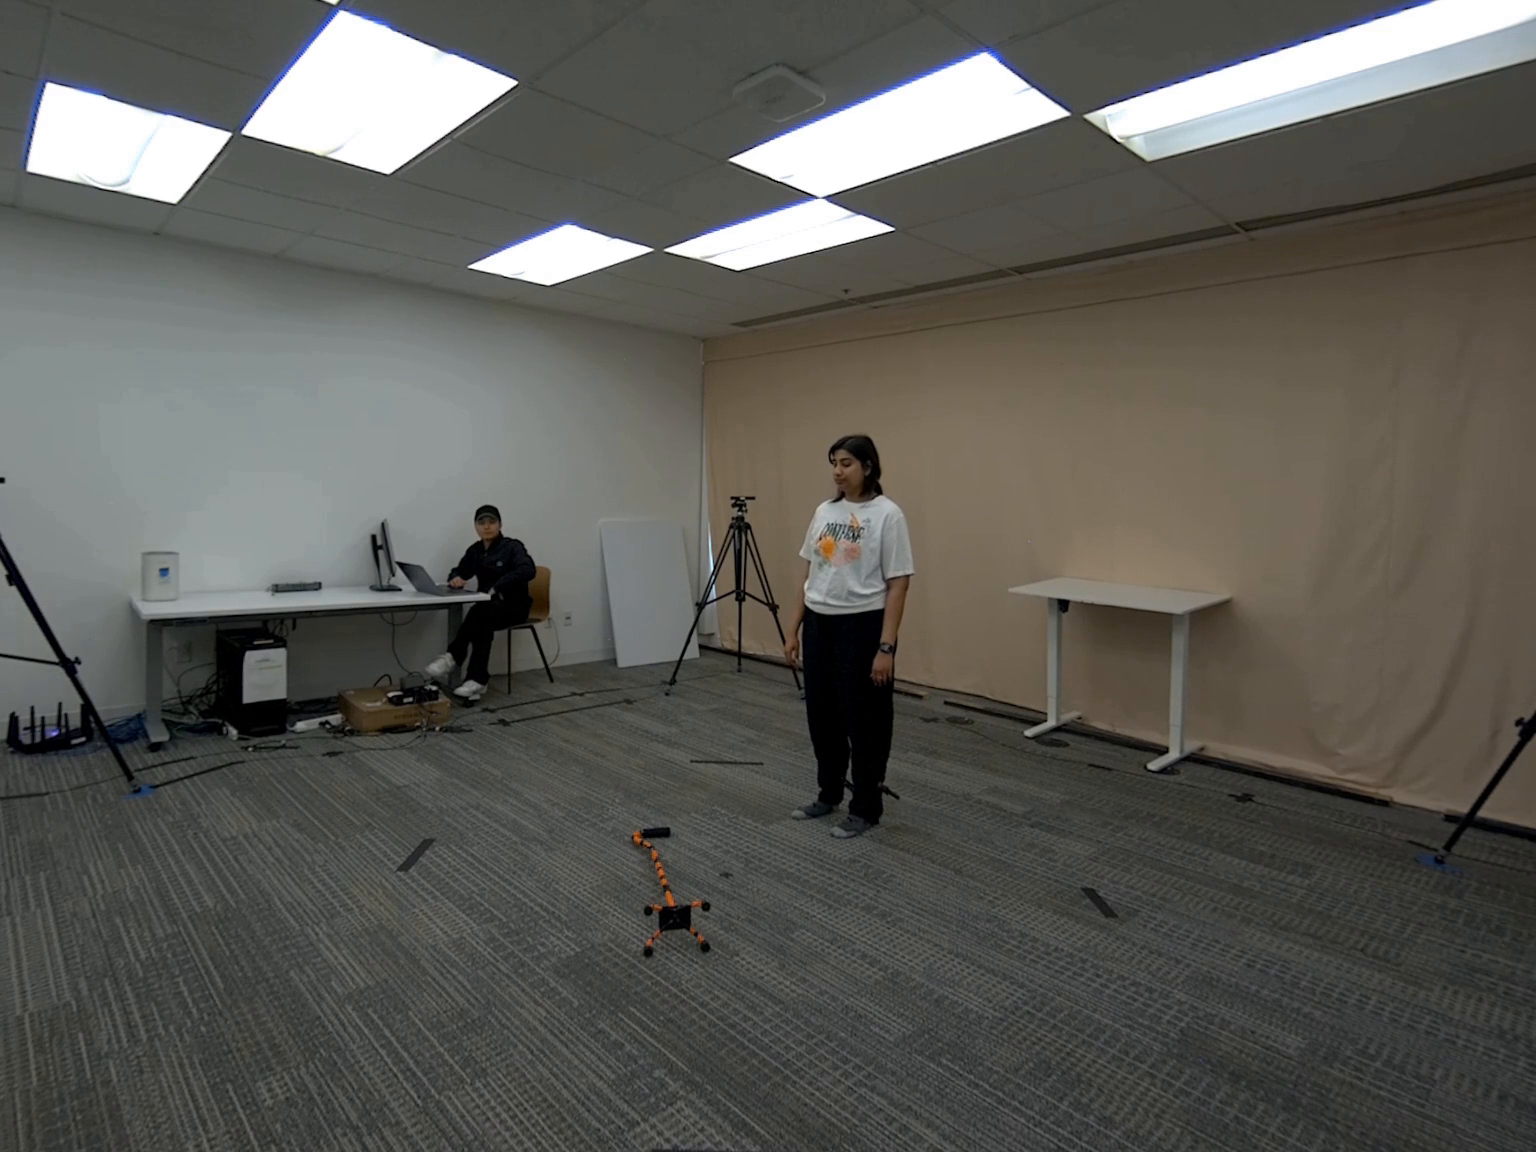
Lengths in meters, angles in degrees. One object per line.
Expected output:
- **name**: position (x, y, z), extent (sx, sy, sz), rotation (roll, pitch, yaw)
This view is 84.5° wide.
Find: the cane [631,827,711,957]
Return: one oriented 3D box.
- **cane**: position (-0.391, 1.063, 3.000), extent (0.204, 0.151, 0.916), rotation (-1, 1, -13)
